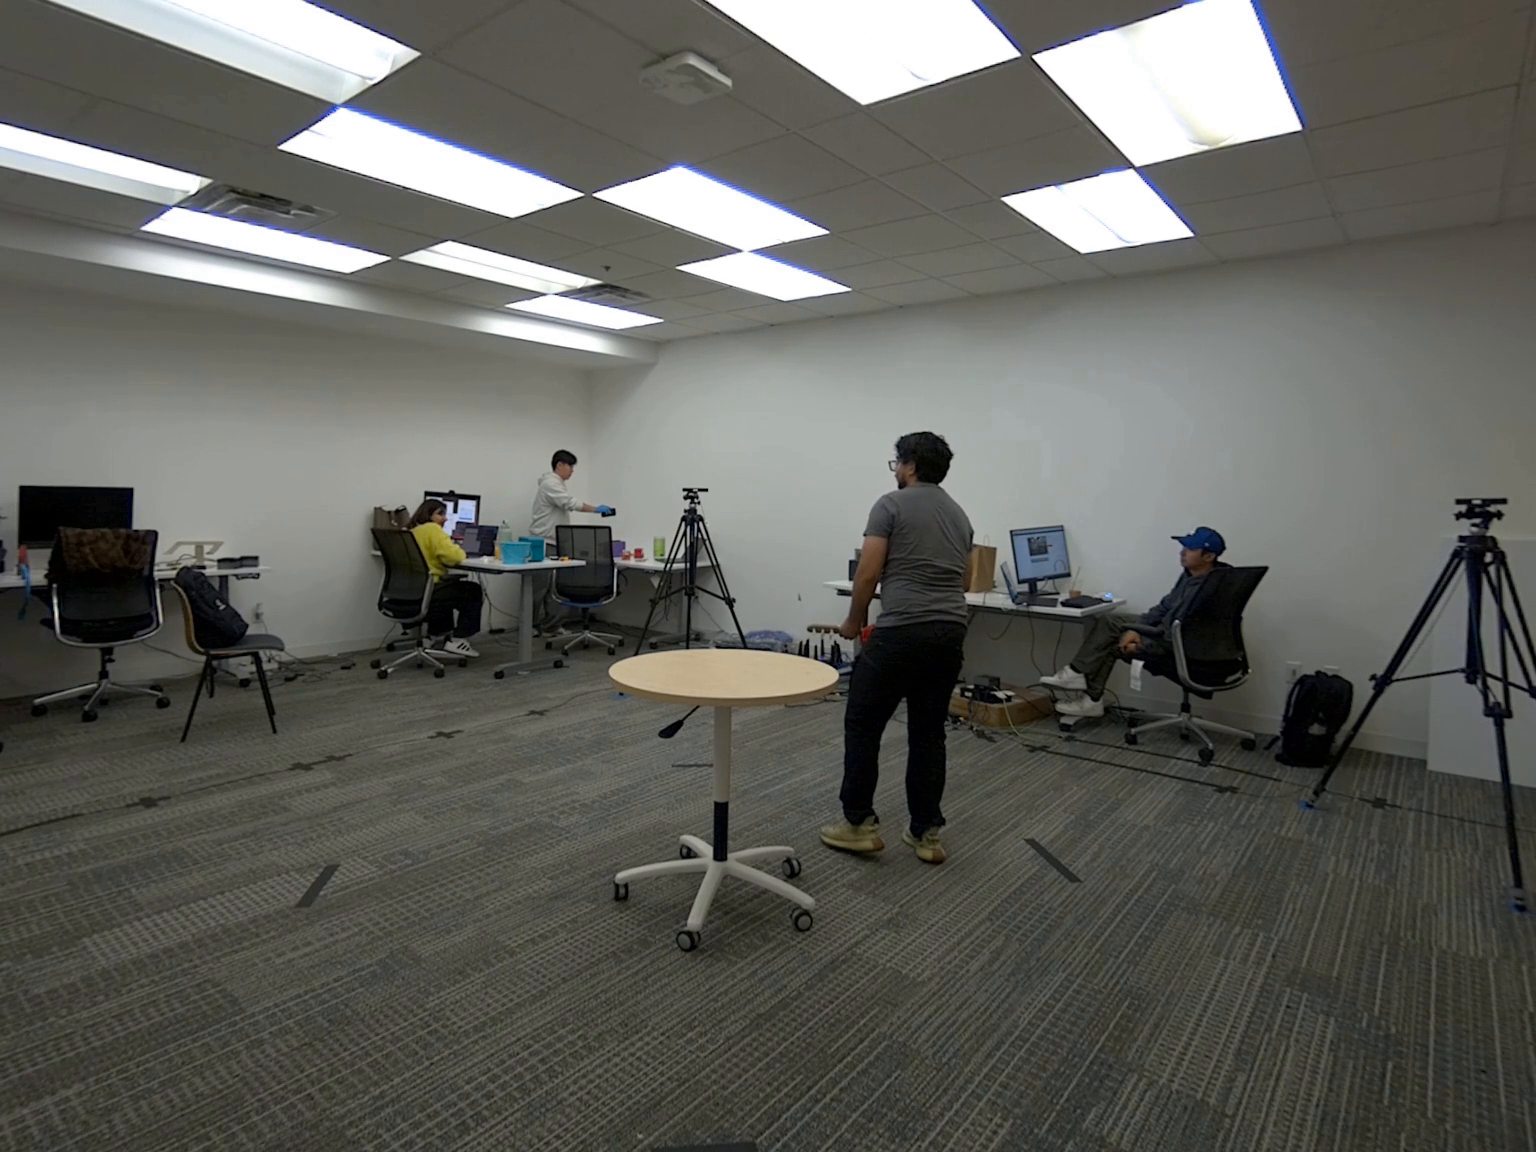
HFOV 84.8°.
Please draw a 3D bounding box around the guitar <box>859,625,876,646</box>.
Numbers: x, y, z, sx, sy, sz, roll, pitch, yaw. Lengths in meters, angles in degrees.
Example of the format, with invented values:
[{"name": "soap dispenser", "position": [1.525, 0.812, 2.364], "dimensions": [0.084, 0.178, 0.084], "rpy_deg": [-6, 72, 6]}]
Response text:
[{"name": "guitar", "position": [0.378, 0.252, 3.547], "dimensions": [0.499, 0.072, 0.187], "rpy_deg": [-1, -32, 3]}]
